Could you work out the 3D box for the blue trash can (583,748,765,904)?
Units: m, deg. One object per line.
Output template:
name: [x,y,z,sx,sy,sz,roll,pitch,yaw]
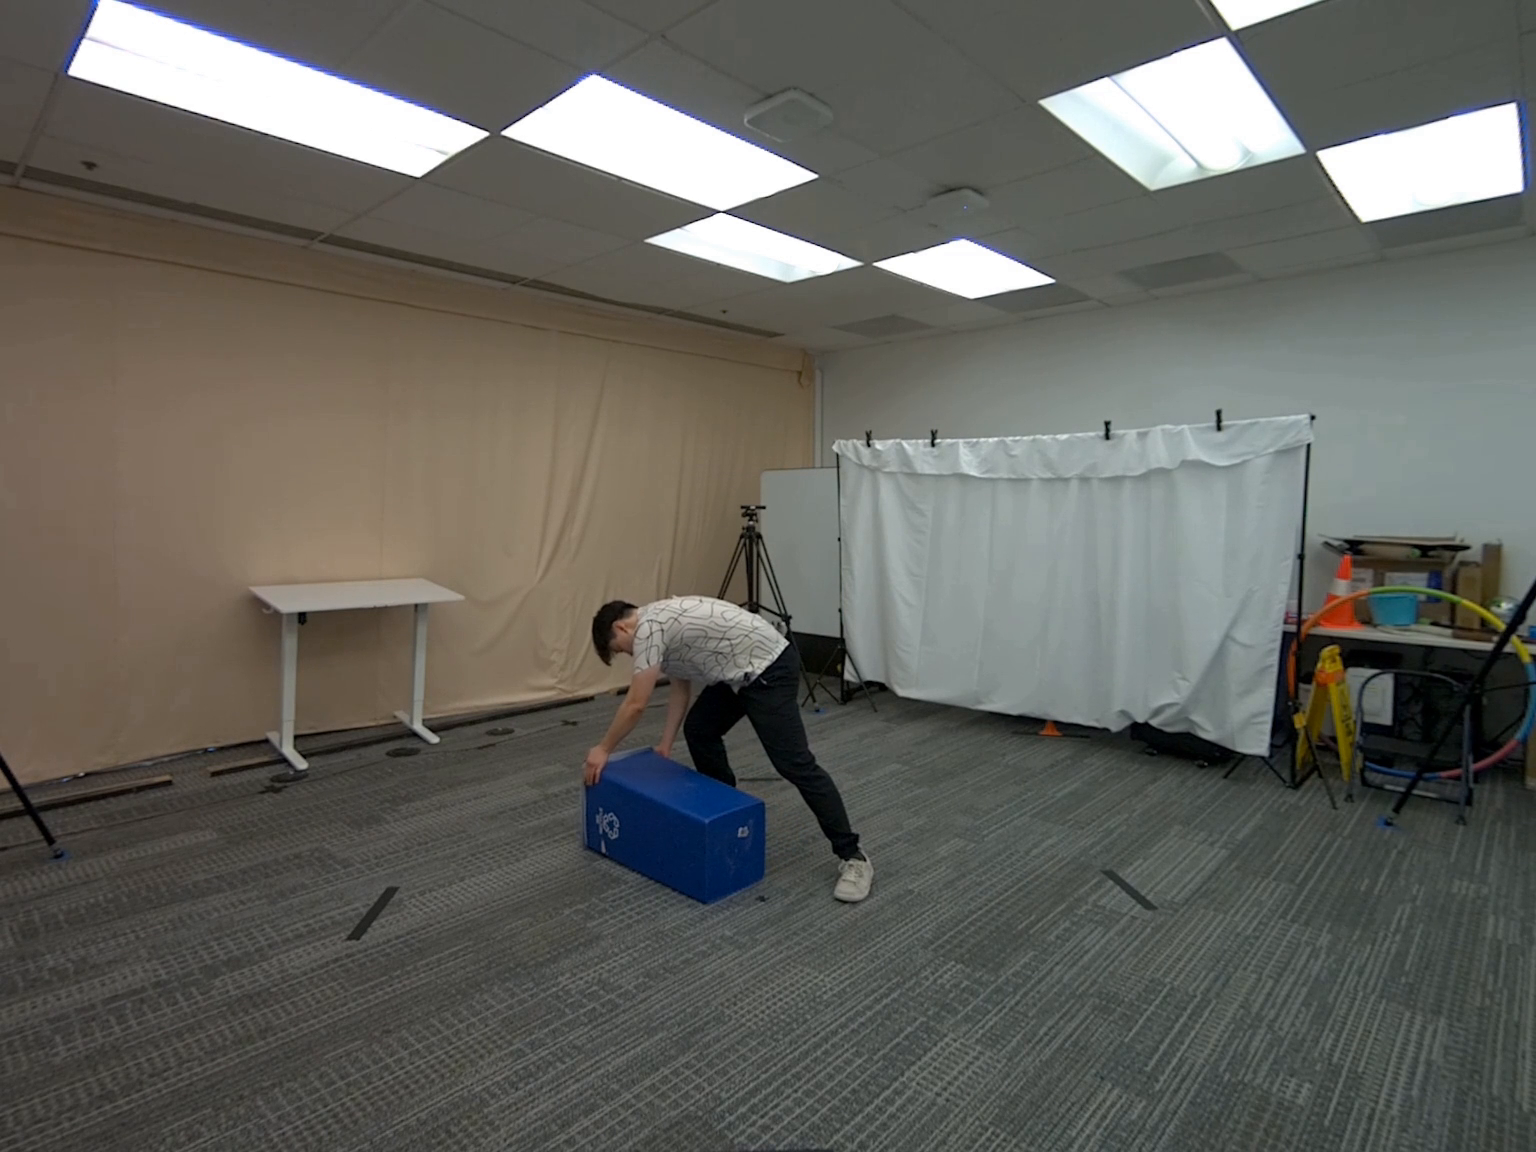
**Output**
blue trash can: [-0.371,0.953,3.271,0.362,0.377,0.738,-3,6,-44]
